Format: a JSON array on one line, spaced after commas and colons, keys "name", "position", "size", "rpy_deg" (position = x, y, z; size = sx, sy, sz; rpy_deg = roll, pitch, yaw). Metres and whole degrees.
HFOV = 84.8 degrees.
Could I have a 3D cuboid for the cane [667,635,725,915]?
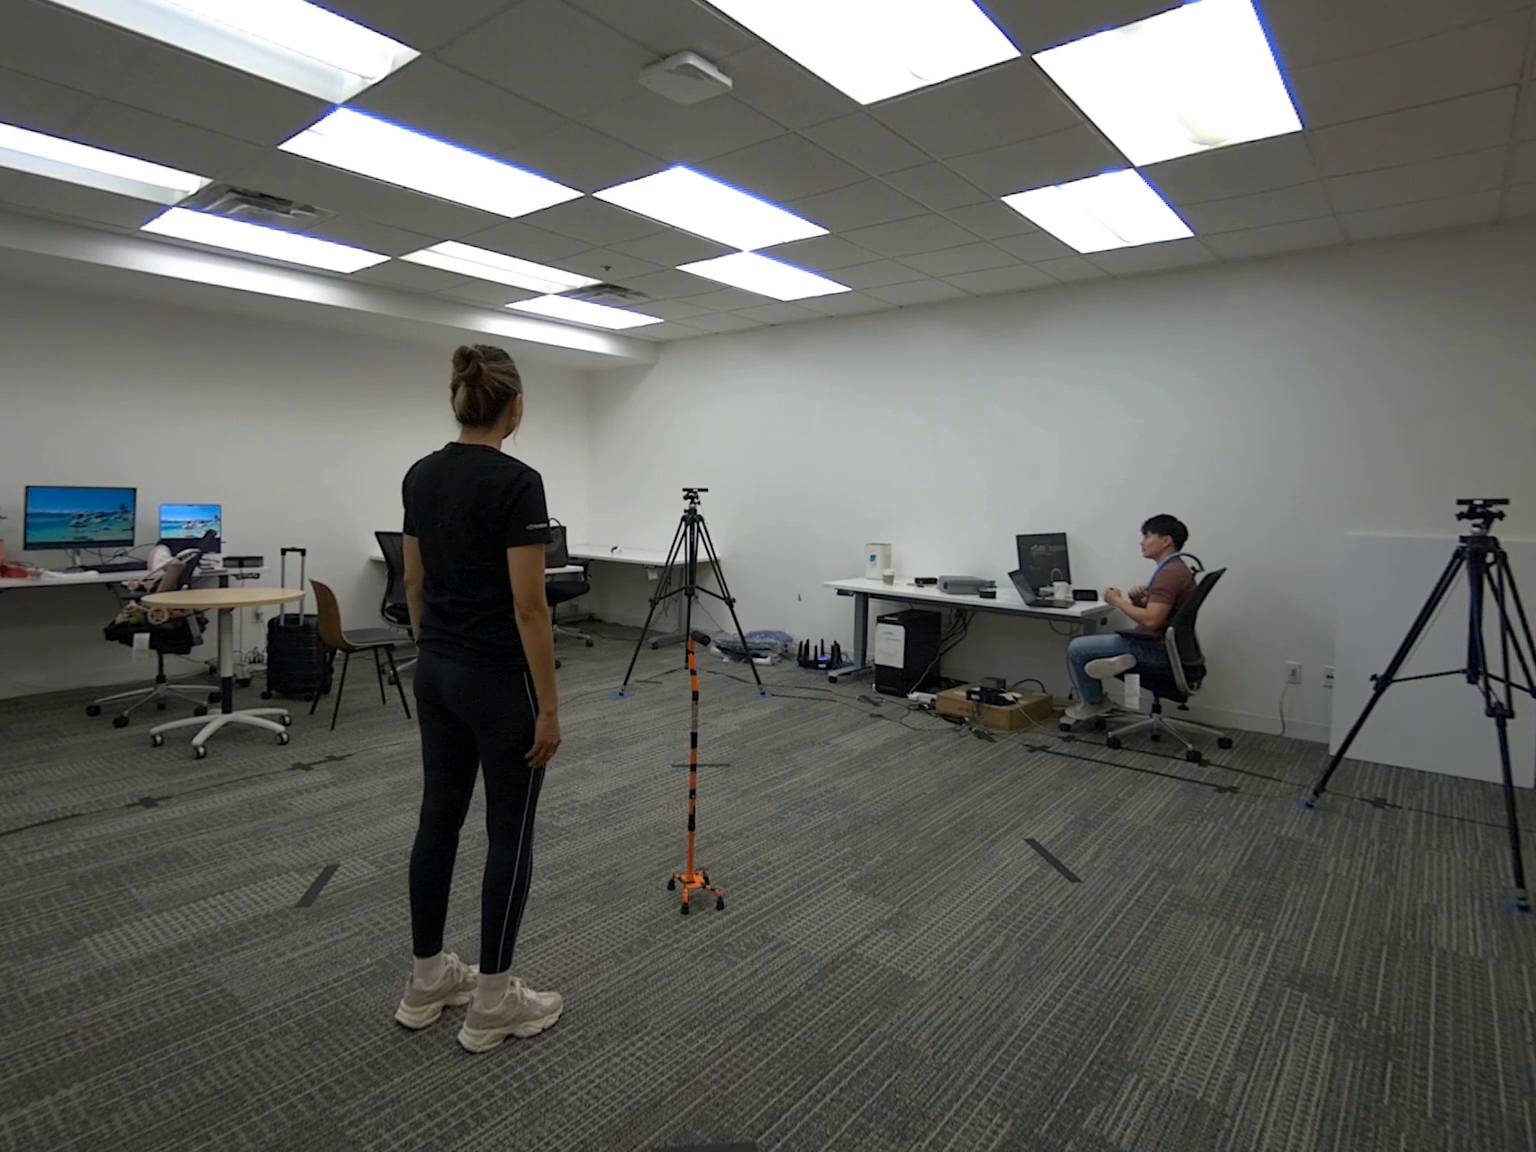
[{"name": "cane", "position": [-0.247, 0.640, 2.862], "size": [0.148, 0.905, 0.211], "rpy_deg": [0, 3, -21]}]
